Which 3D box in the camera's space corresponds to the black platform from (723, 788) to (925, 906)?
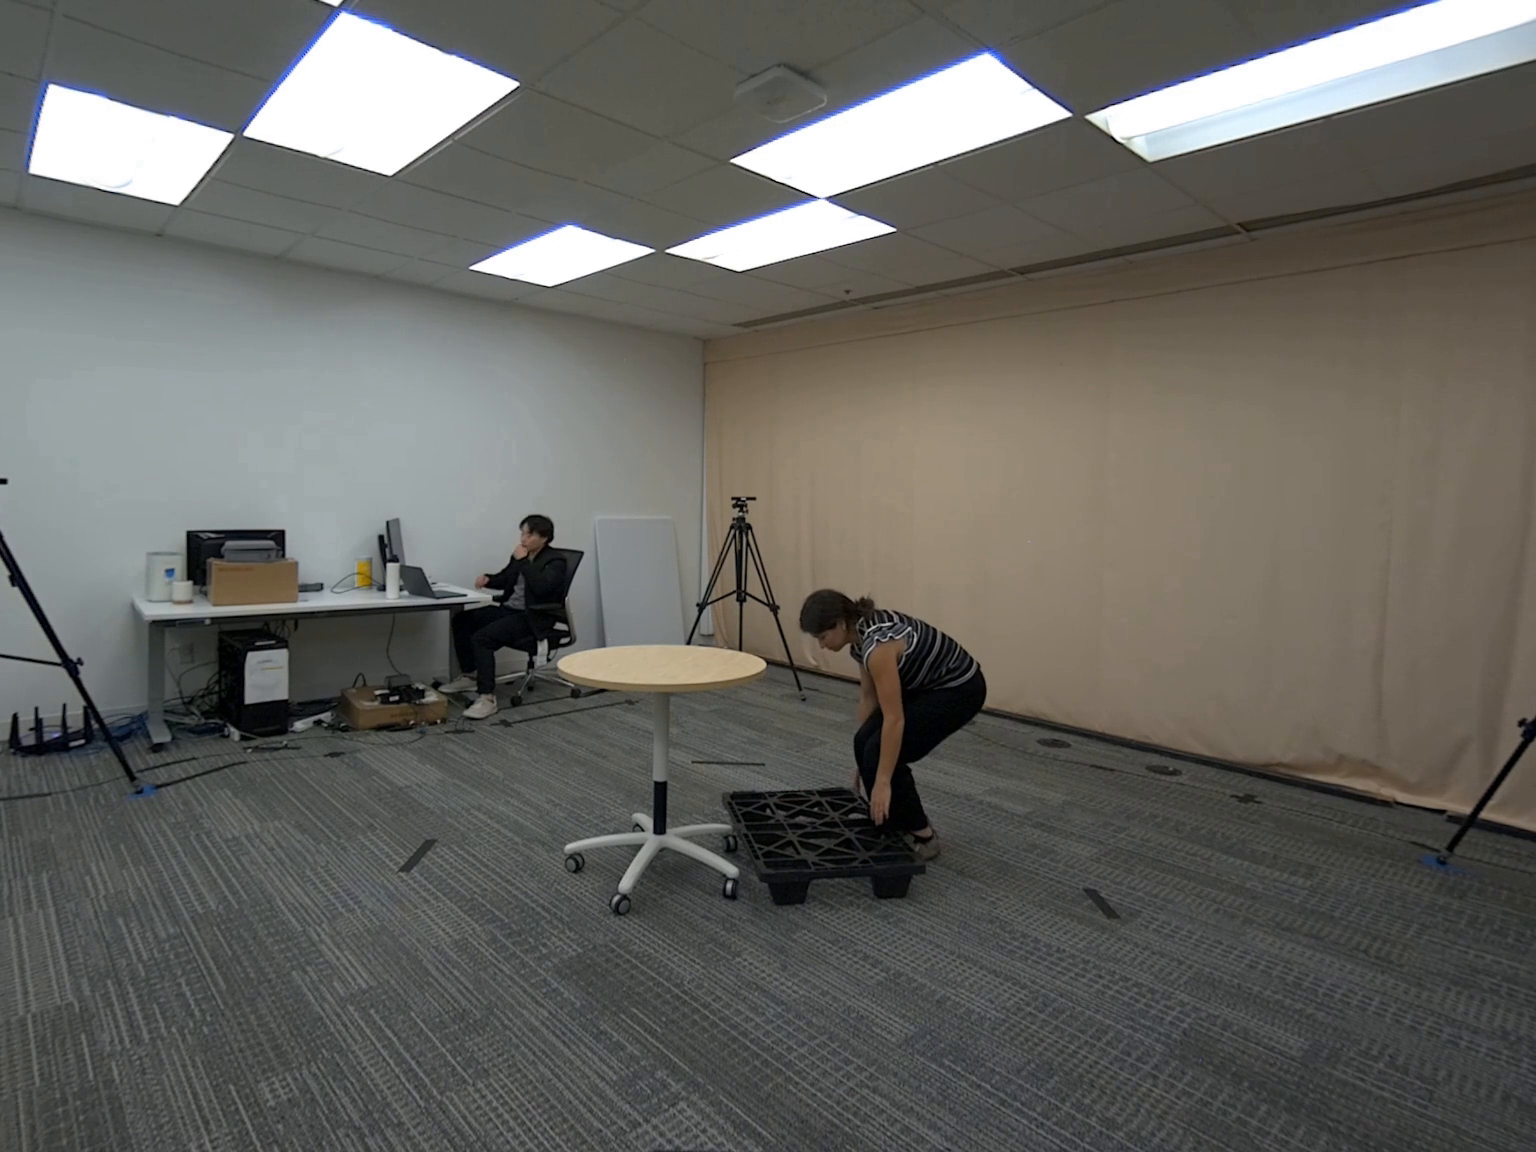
[{"bbox_3d":[0.166,1.031,3.268,0.600,0.143,0.815,-1,5,-12],"label":"black platform"}]
